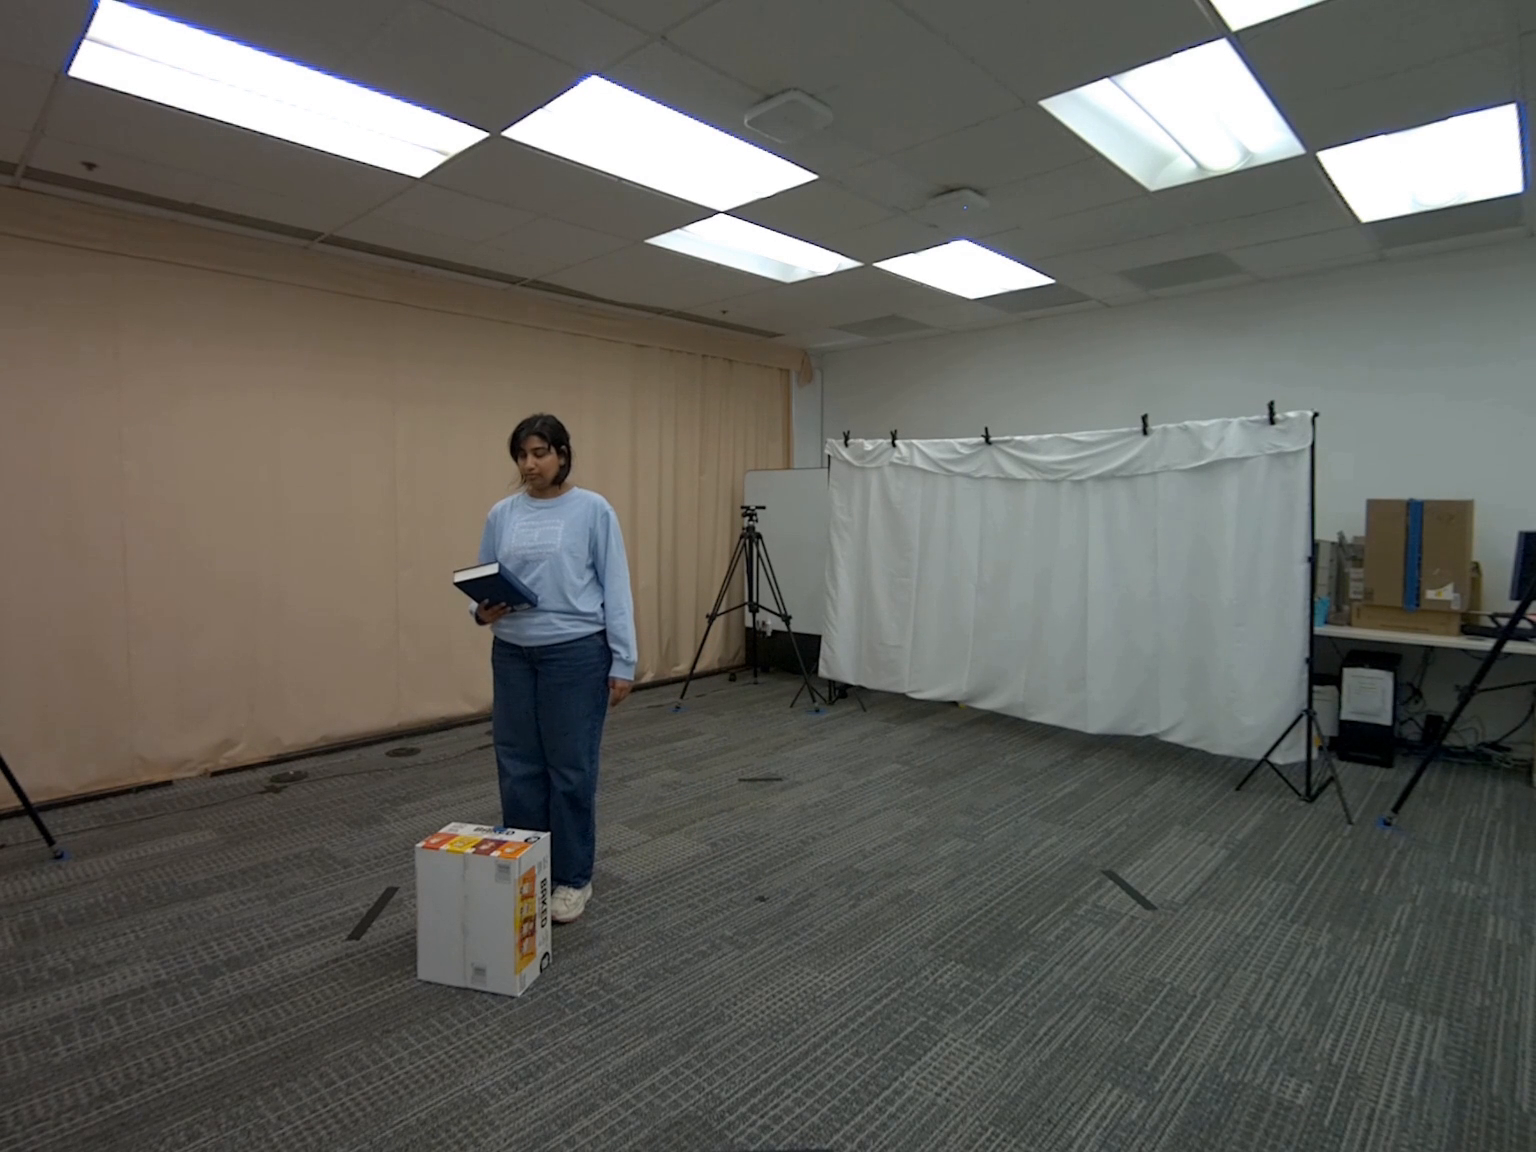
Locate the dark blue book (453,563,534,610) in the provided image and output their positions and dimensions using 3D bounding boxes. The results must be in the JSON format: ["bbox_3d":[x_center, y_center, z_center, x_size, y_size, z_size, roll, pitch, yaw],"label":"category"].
[{"bbox_3d":[-0.886,0.037,2.645,0.165,0.046,0.239,-5,-30,8],"label":"dark blue book"}]
